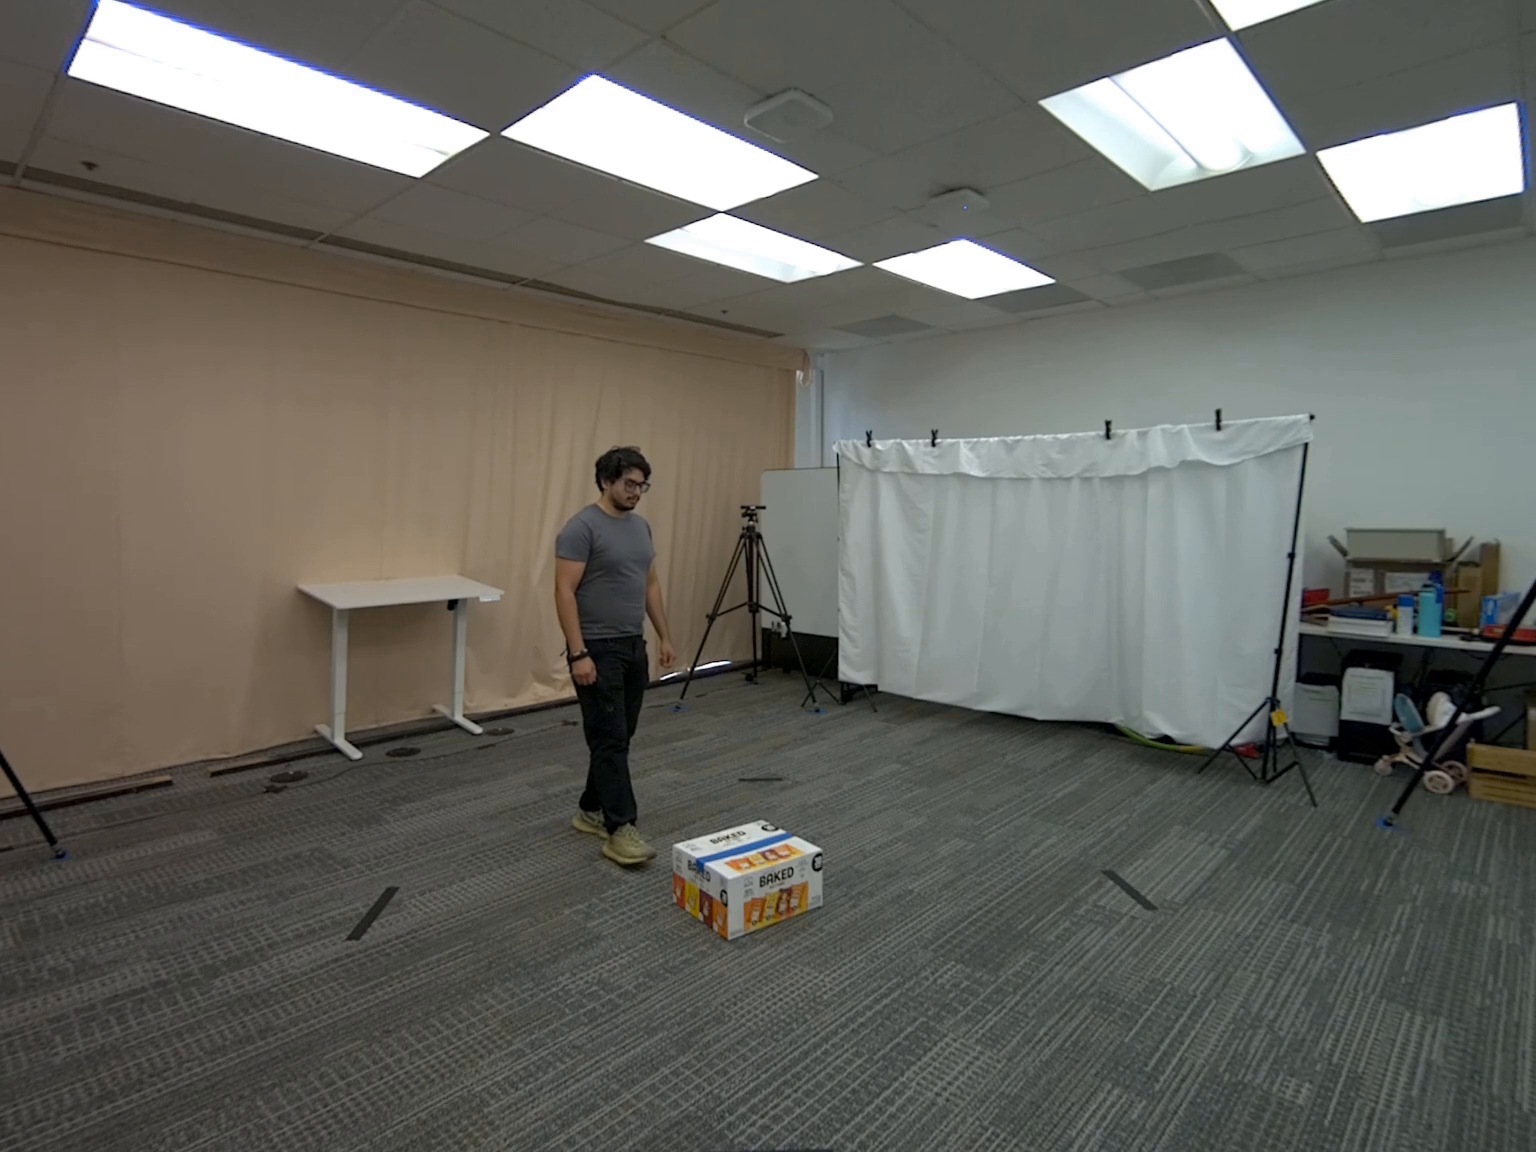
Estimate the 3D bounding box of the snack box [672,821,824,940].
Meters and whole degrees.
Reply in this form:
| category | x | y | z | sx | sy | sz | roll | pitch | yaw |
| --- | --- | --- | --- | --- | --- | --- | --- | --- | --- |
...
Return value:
| category | x | y | z | sx | sy | sz | roll | pitch | yaw |
| --- | --- | --- | --- | --- | --- | --- | --- | --- | --- |
| snack box | -0.069 | 1.047 | 2.936 | 0.393 | 0.205 | 0.351 | -4 | 6 | -37 |
